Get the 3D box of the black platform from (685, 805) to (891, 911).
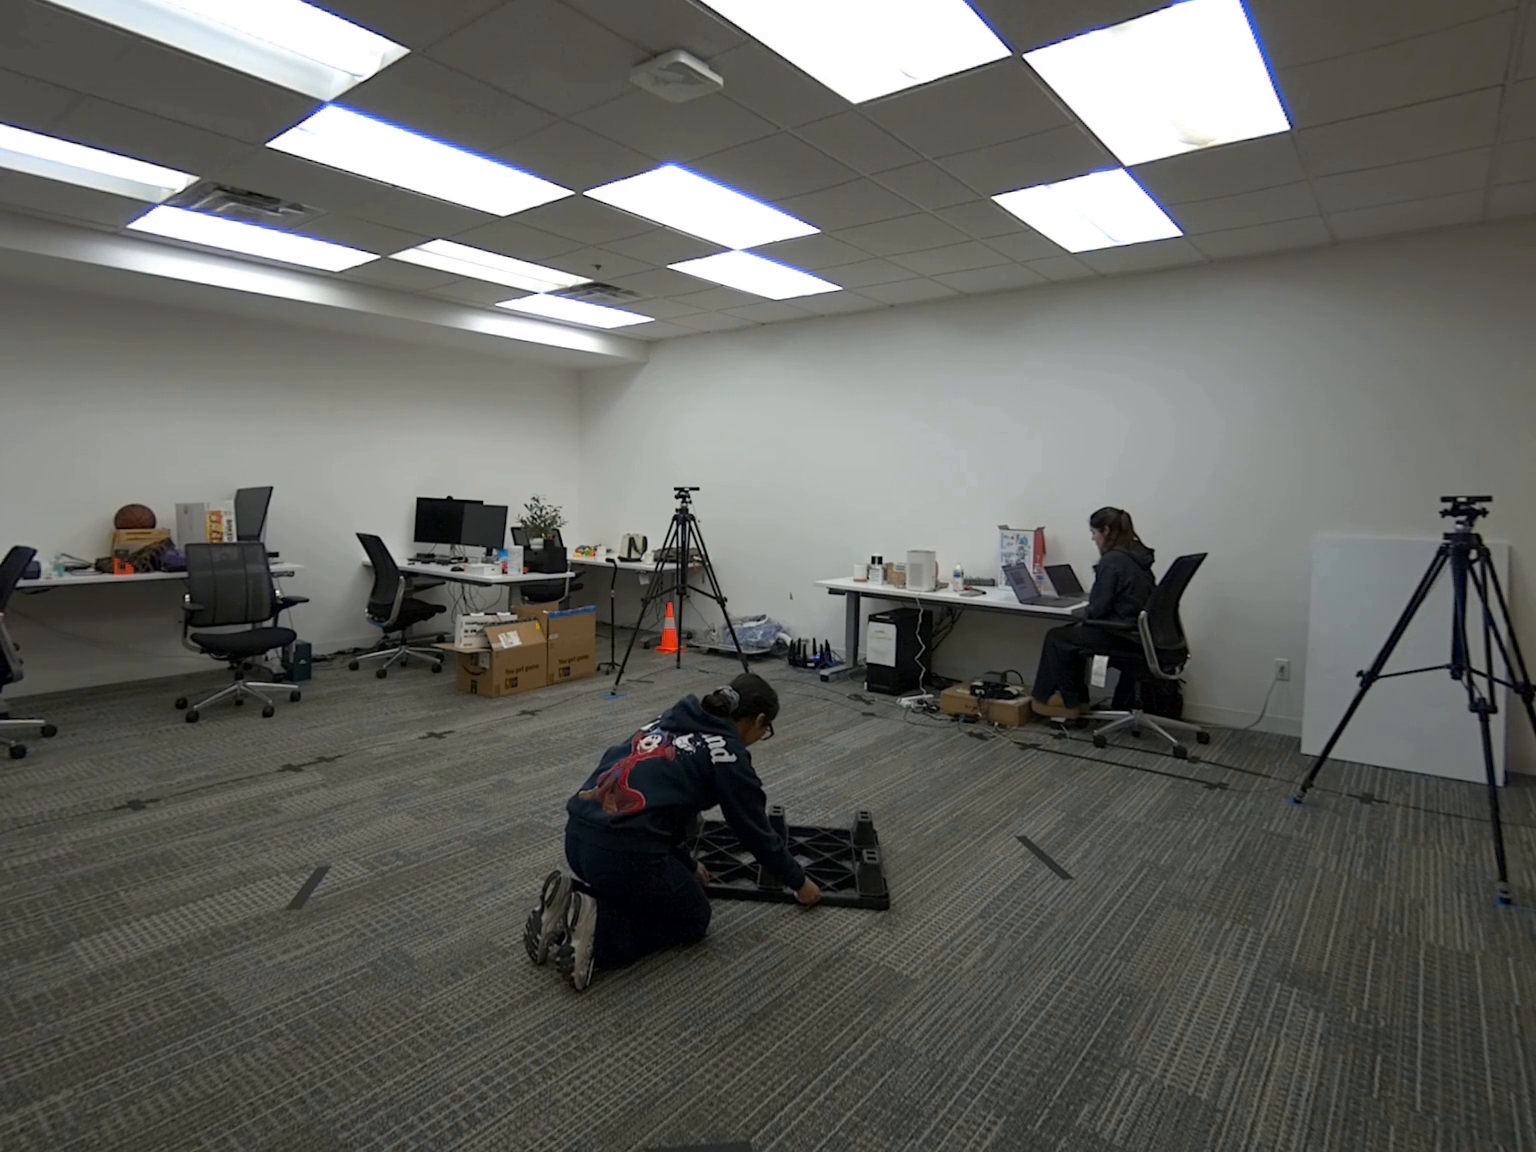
[{"bbox_3d":[0.015,0.999,3.148,0.810,0.143,0.604,2,5,5],"label":"black platform"}]
